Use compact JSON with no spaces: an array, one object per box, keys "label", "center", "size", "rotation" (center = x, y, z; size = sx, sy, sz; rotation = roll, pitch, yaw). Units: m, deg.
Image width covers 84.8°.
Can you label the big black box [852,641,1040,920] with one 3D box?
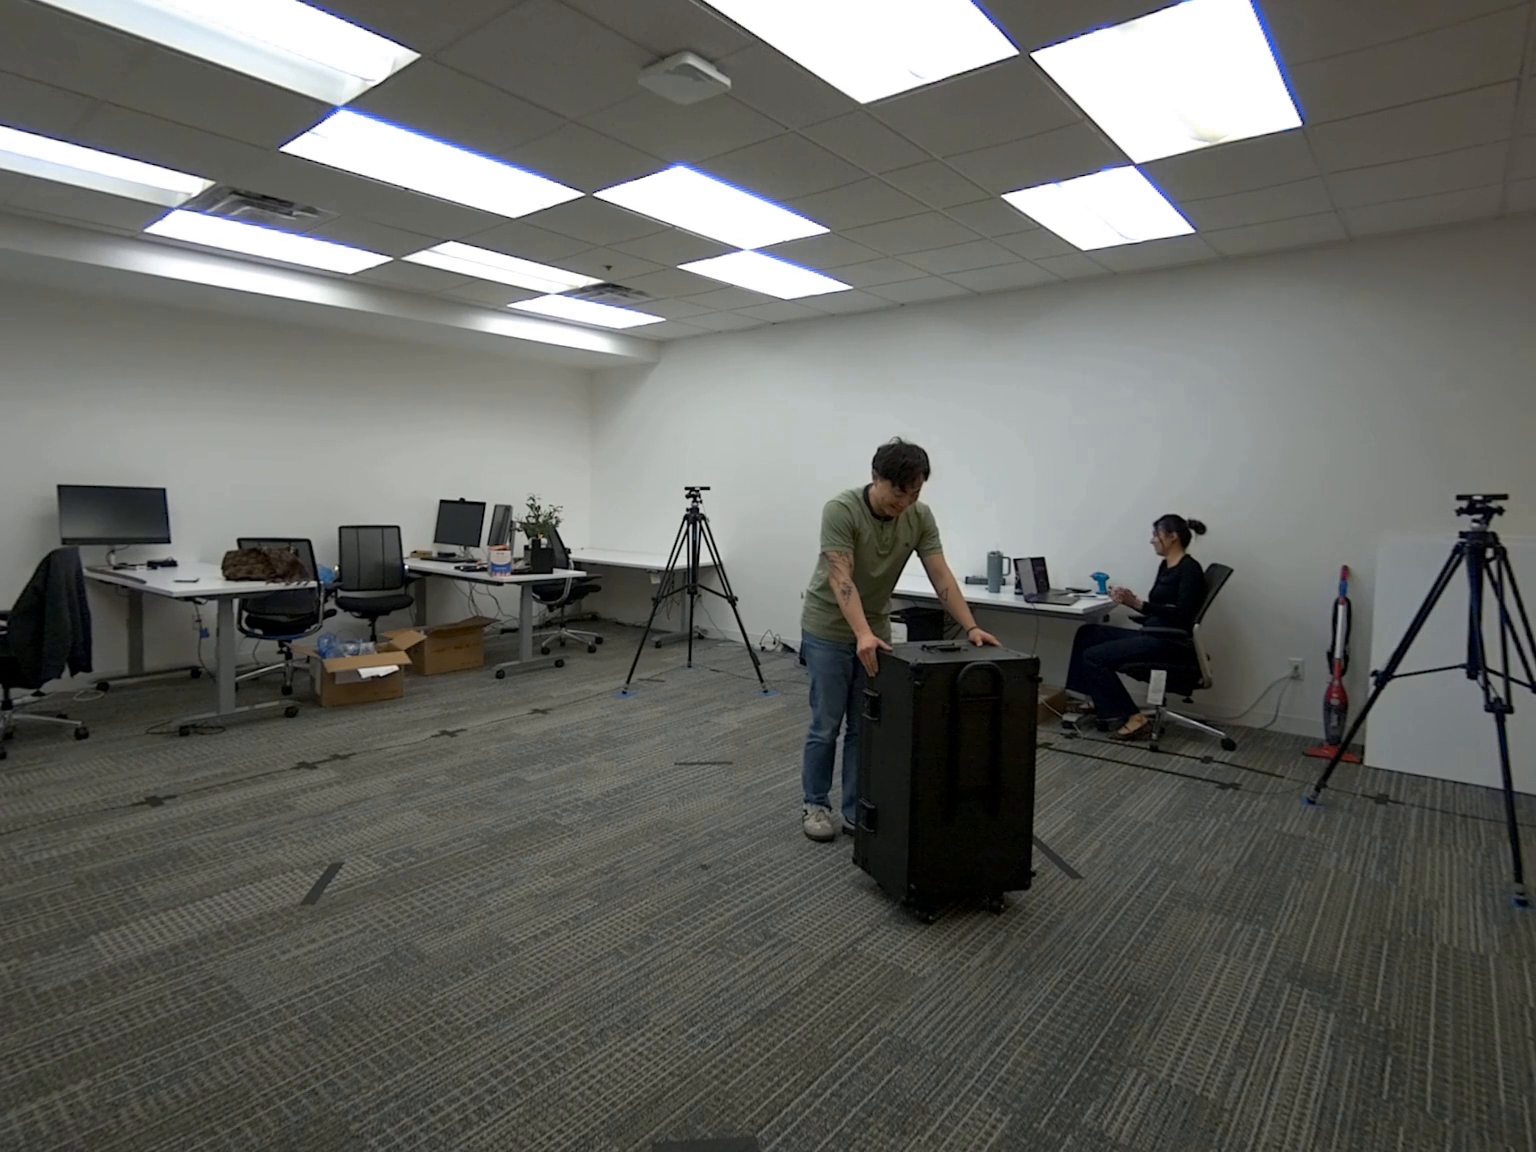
[{"label":"big black box","center":[0.605,0.674,2.910],"size":[0.511,0.858,0.406],"rotation":[1,4,-20]}]
